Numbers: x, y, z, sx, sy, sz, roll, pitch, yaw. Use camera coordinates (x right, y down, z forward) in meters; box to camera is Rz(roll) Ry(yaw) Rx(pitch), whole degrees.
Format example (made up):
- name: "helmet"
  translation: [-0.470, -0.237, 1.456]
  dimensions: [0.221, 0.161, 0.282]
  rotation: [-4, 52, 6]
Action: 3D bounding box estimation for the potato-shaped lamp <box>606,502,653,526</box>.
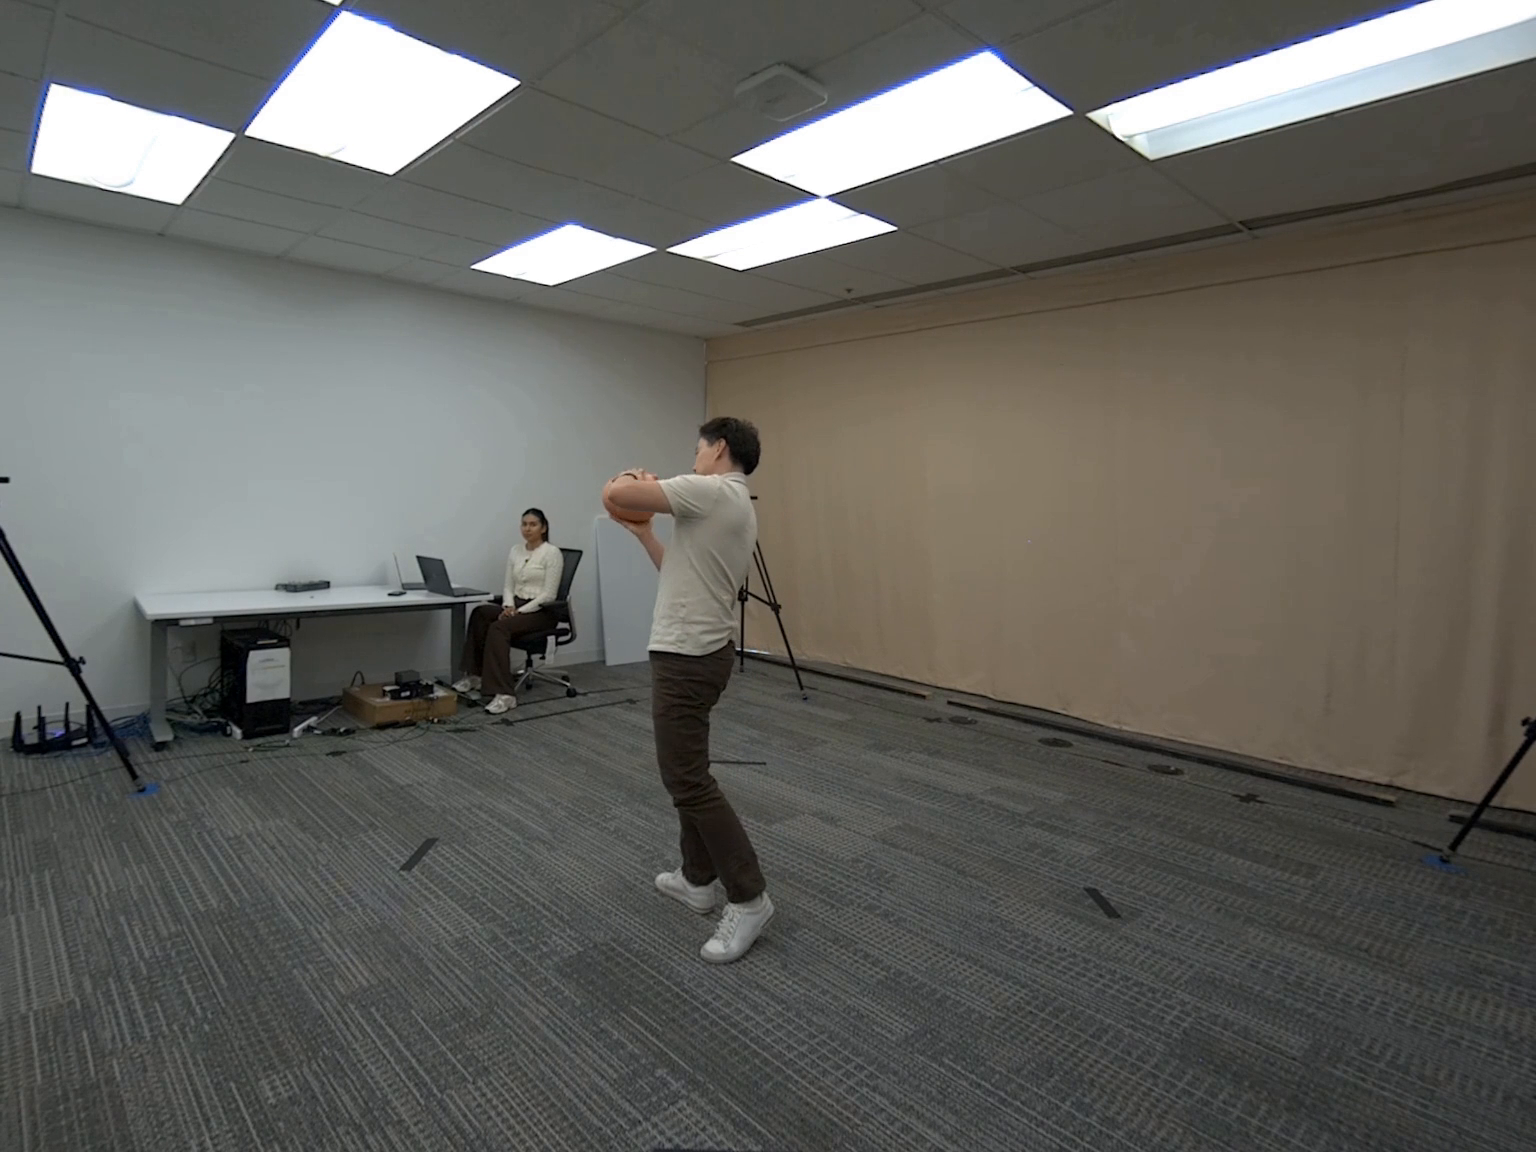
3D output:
- name: "potato-shaped lamp"
  translation: [-0.485, -0.280, 2.975]
  dimensions: [0.198, 0.168, 0.168]
  rotation: [7, -37, -2]
